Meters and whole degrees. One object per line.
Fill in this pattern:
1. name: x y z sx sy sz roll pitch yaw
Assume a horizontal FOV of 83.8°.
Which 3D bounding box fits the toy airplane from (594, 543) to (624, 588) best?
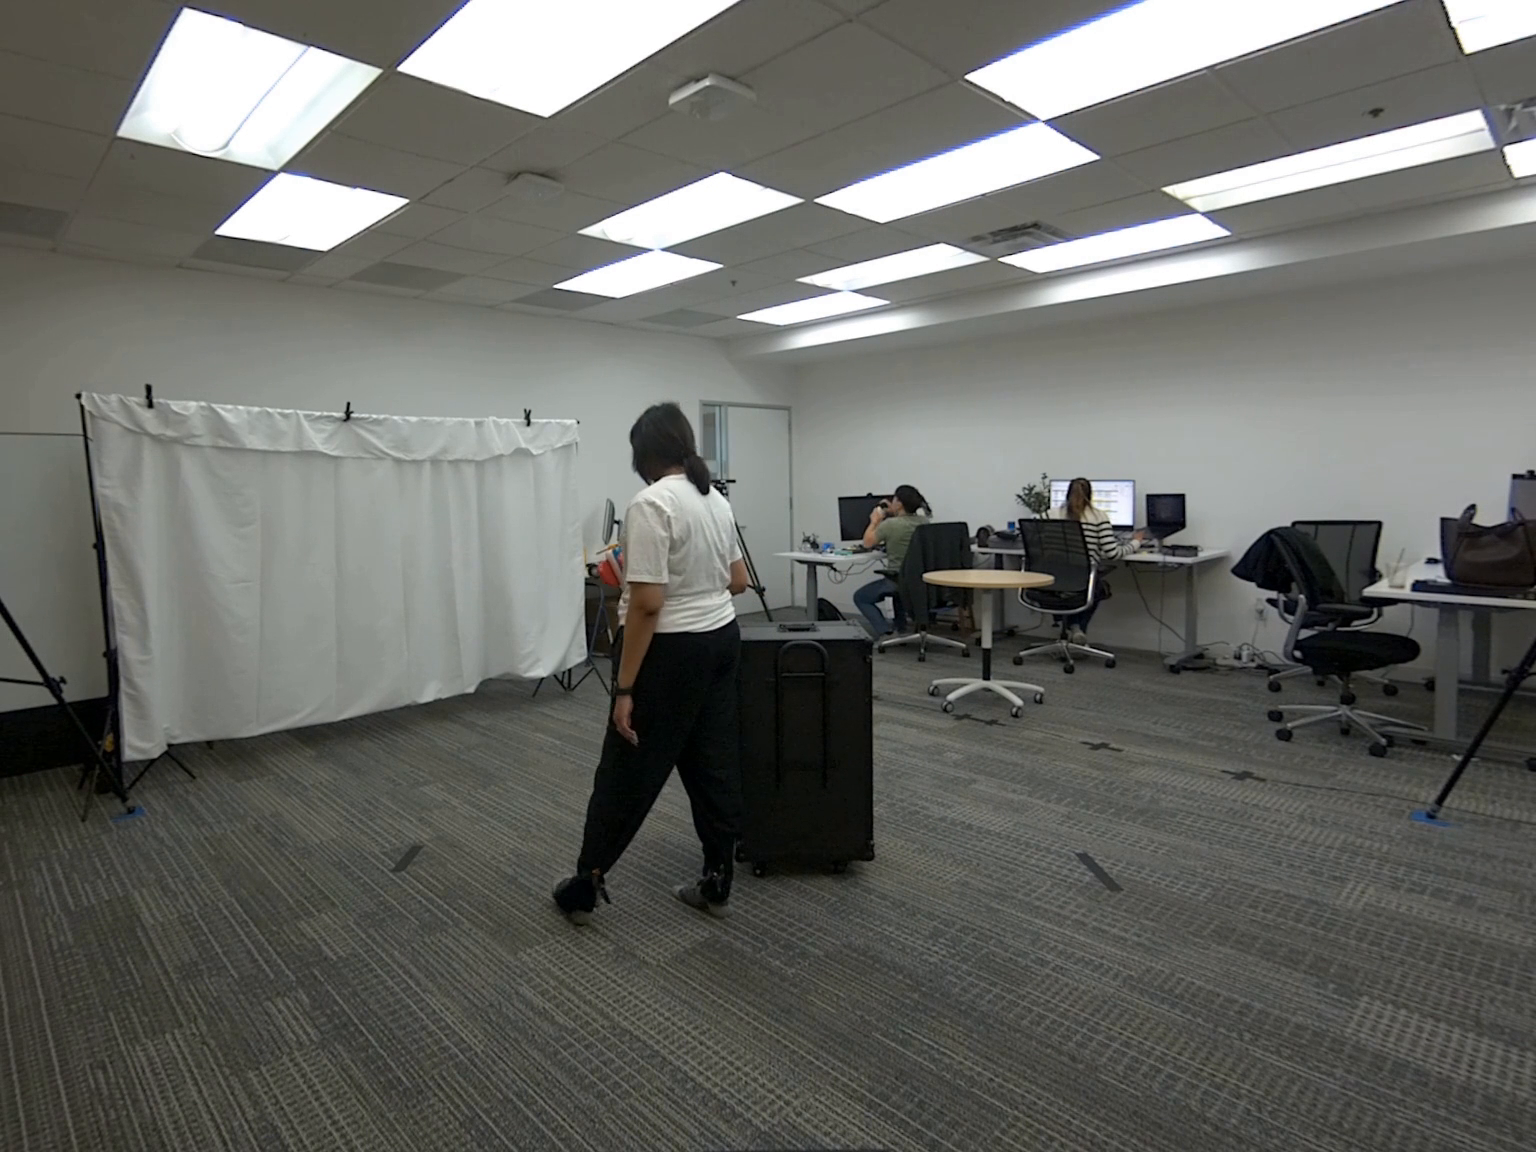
1. toy airplane: -0.500 0.005 2.956 0.156 0.250 0.259 -41 30 5
